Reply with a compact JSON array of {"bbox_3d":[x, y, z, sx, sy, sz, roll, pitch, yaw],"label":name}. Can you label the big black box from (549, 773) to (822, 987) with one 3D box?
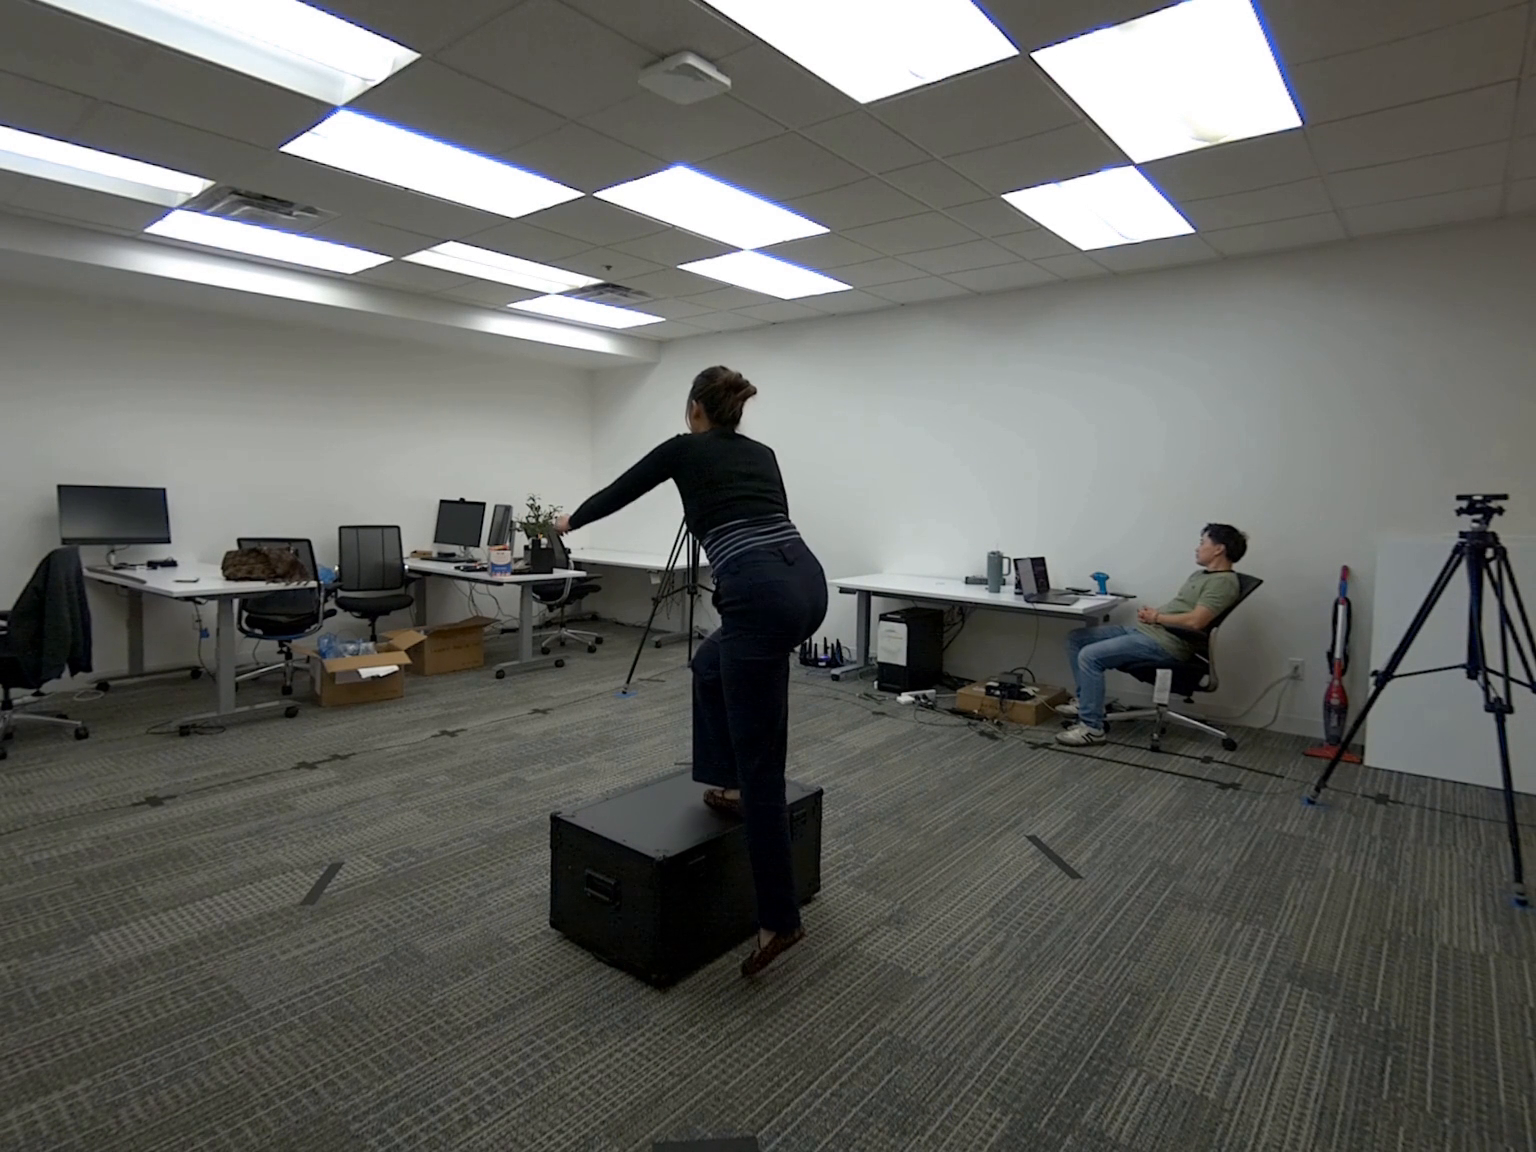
[{"bbox_3d":[-0.275,0.911,2.737,0.539,0.395,0.836,5,6,39],"label":"big black box"}]
